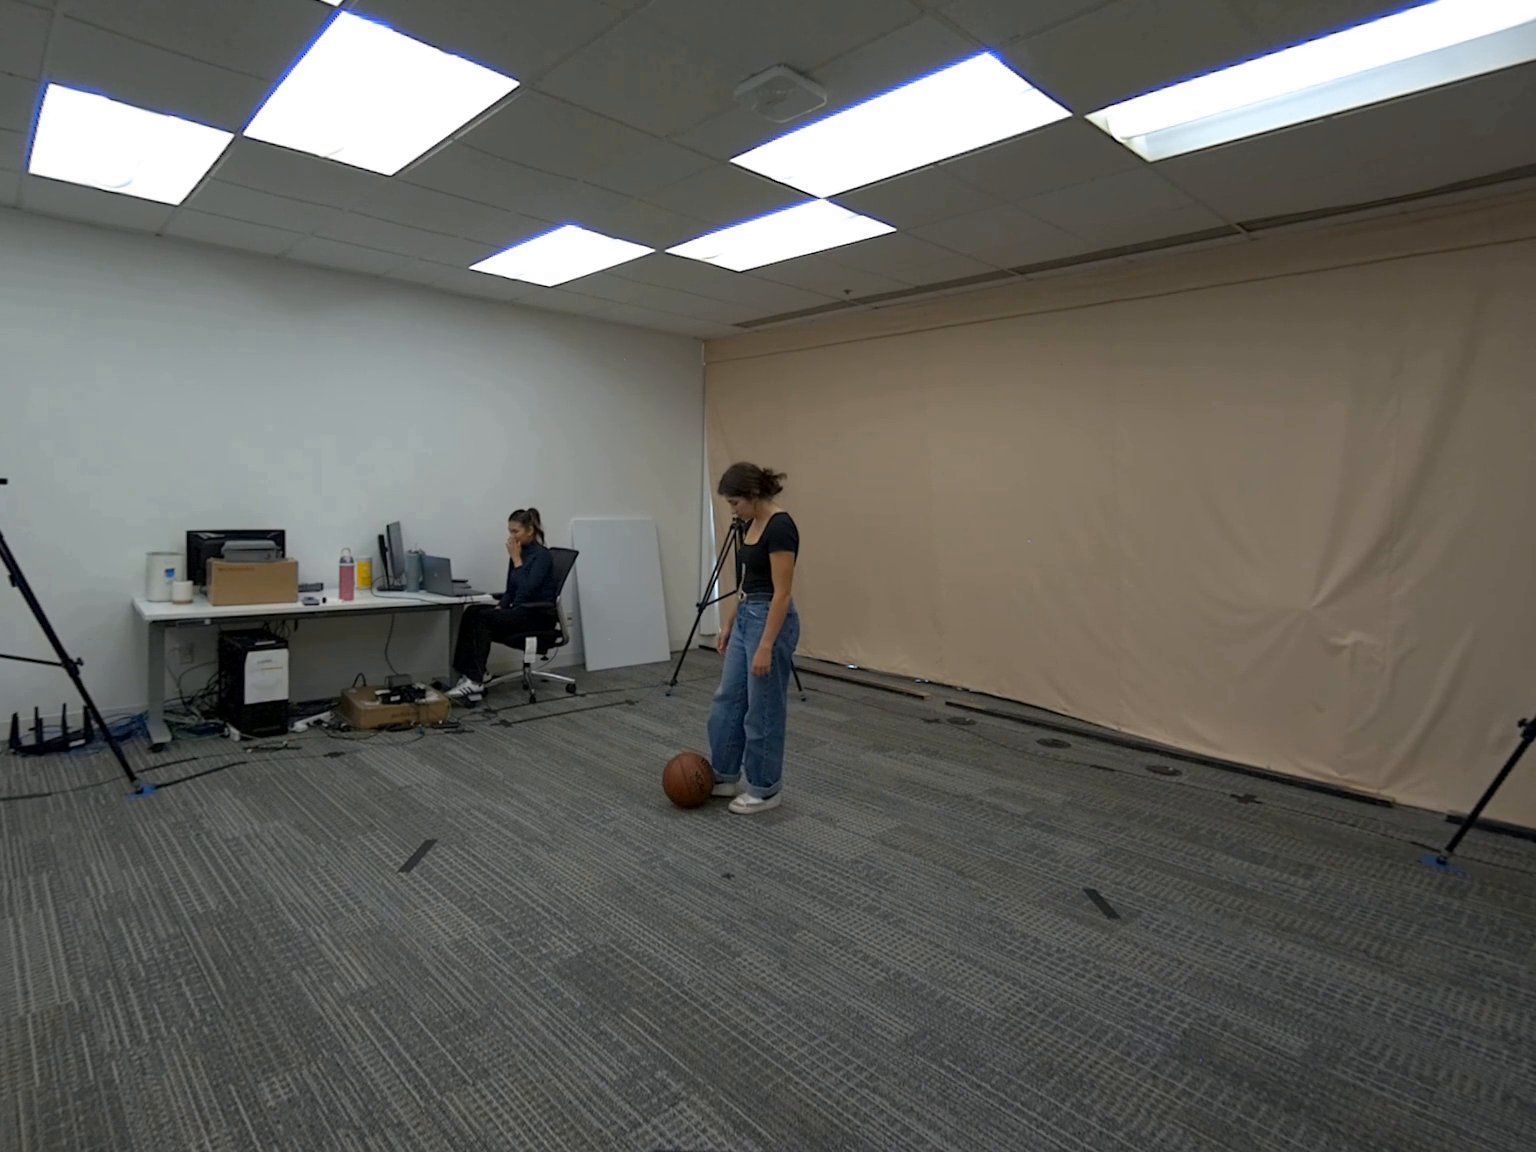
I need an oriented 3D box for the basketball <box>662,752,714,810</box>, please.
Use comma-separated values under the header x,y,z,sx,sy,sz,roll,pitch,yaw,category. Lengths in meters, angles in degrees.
x,y,z,sx,sy,sz,roll,pitch,yaw,category
-0.370,0.915,3.803,0.236,0.235,0.237,1,4,-1,basketball
